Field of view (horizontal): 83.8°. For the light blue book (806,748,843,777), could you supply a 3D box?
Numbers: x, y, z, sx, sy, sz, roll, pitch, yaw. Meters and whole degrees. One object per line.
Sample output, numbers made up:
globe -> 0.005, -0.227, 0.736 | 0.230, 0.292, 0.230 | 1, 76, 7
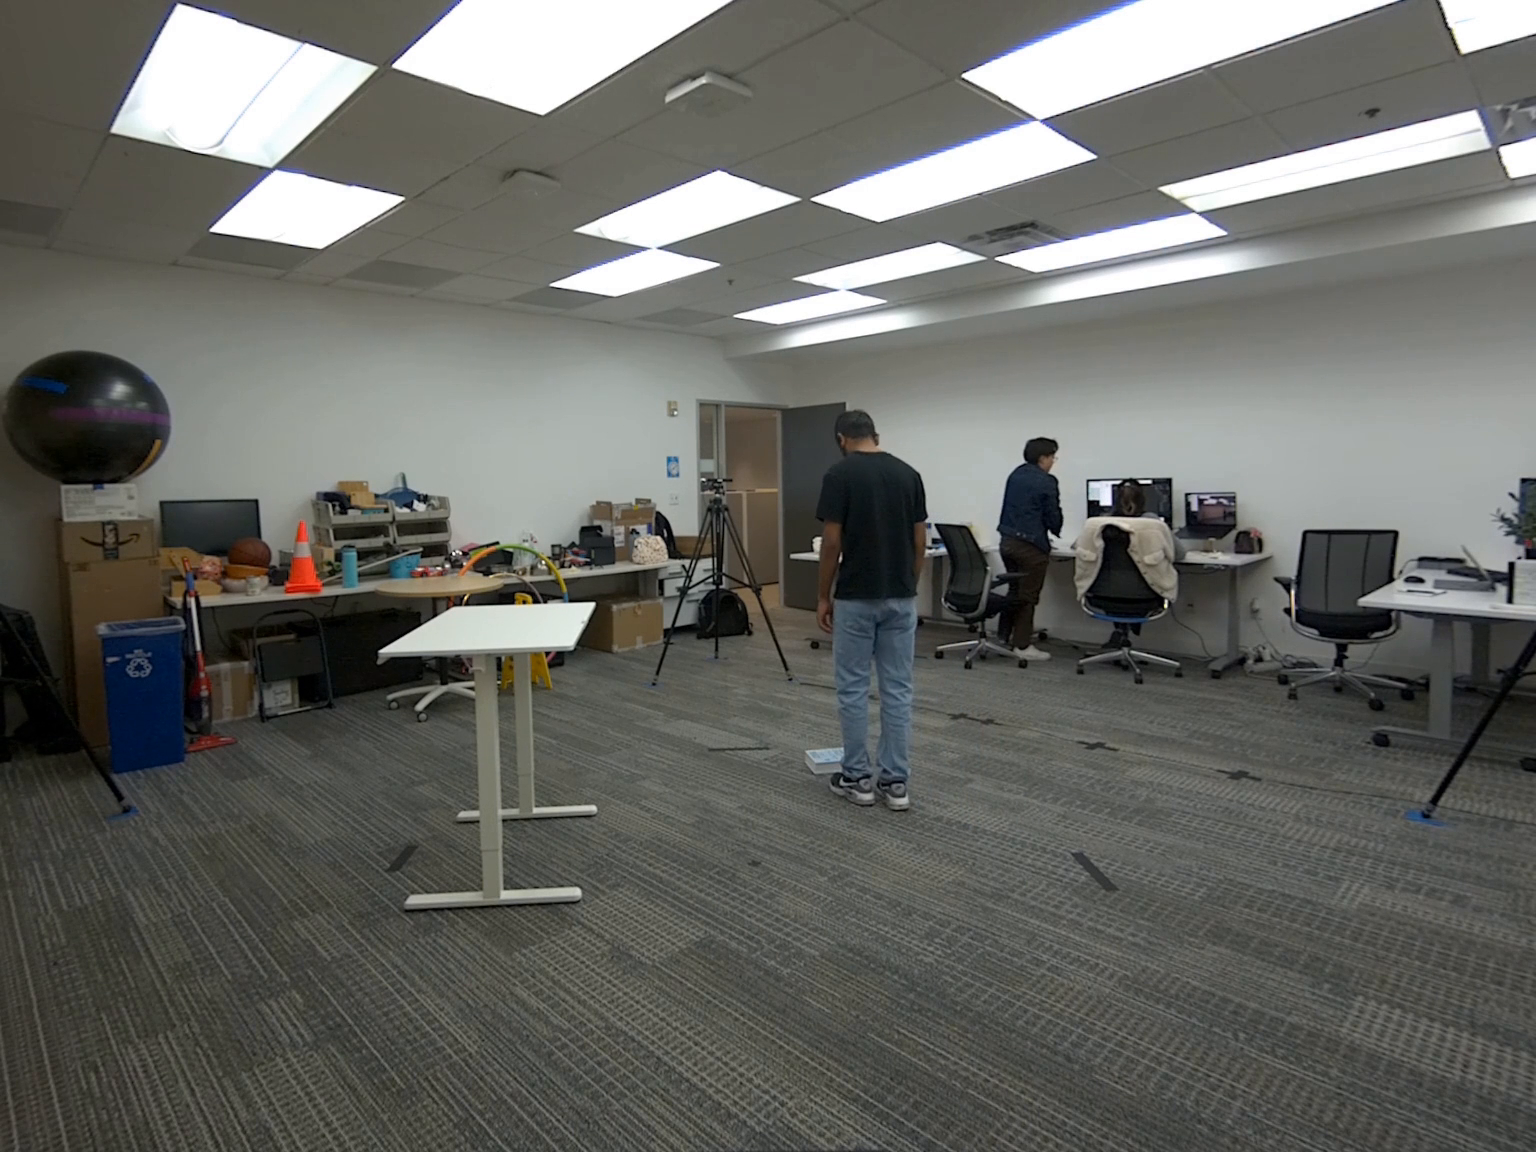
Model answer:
light blue book -> 0.339, 0.896, 4.145 | 0.258, 0.059, 0.194 | -3, 7, -11
